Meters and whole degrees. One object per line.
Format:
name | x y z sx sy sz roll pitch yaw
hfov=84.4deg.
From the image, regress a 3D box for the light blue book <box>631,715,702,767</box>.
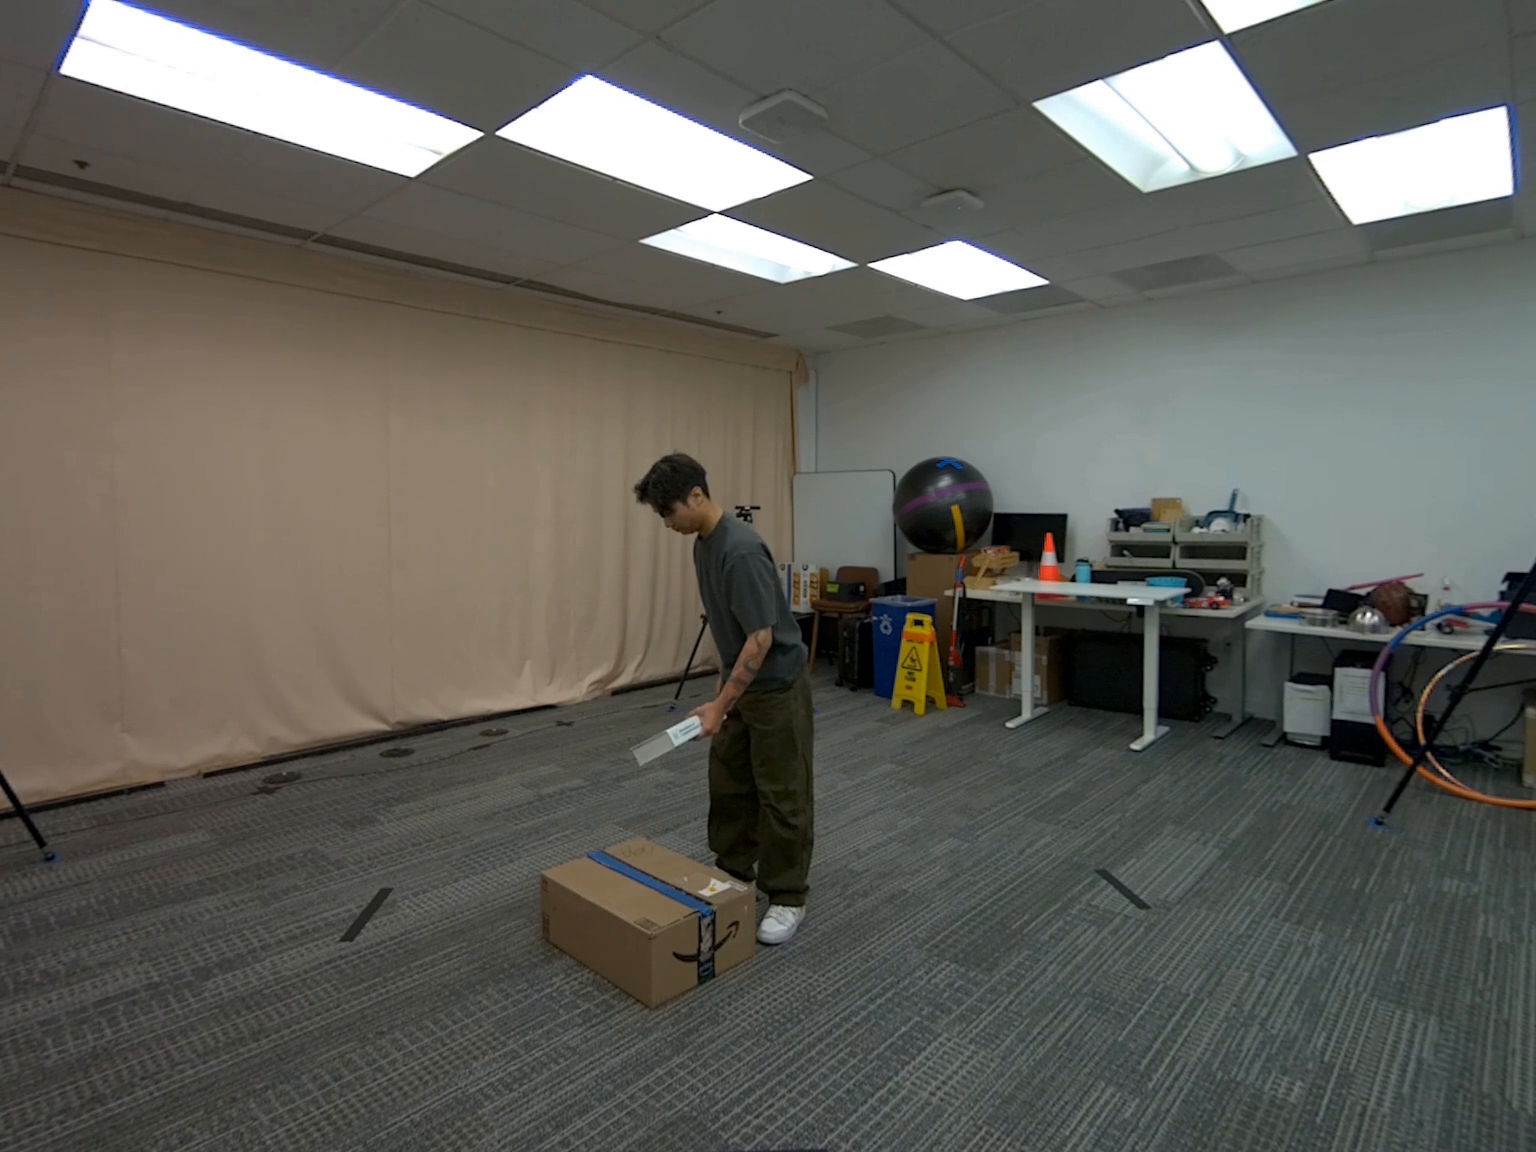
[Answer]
light blue book | -0.281 0.496 2.646 0.194 0.059 0.255 -32 -6 35
